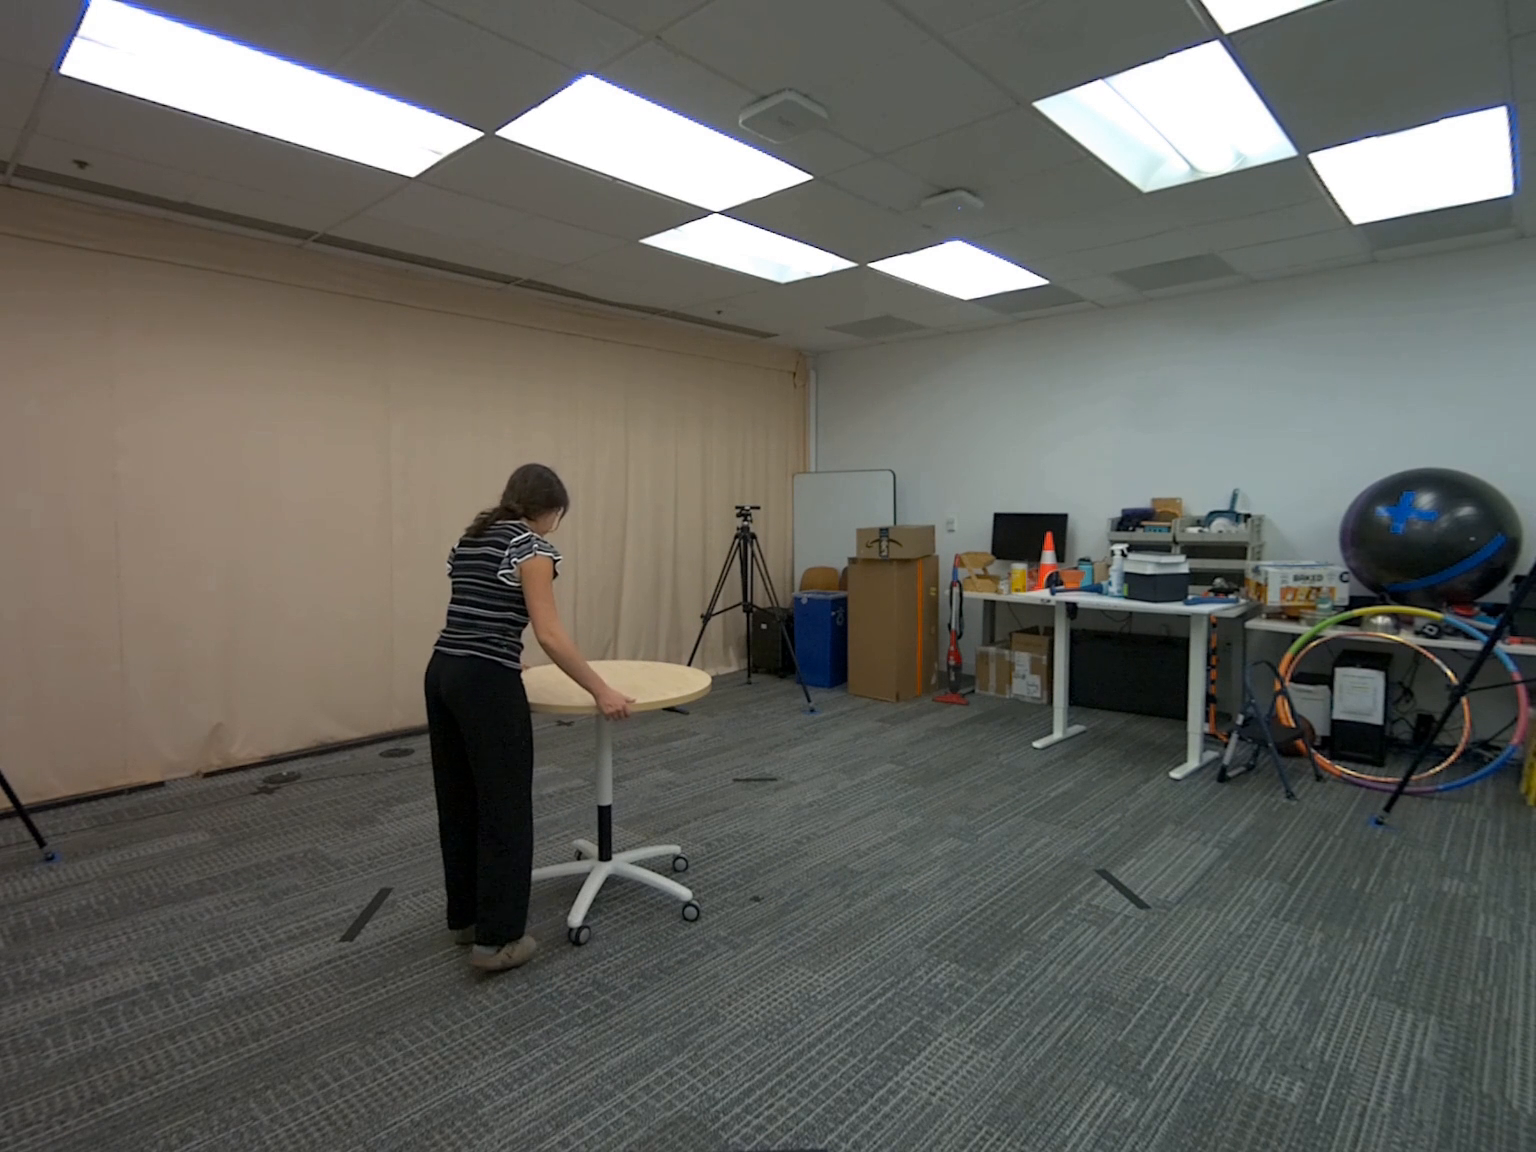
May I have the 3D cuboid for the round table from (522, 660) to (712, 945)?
[{"bbox_3d":[-0.574,0.761,2.982,0.763,0.792,0.766,0,3,-2],"label":"round table"}]
